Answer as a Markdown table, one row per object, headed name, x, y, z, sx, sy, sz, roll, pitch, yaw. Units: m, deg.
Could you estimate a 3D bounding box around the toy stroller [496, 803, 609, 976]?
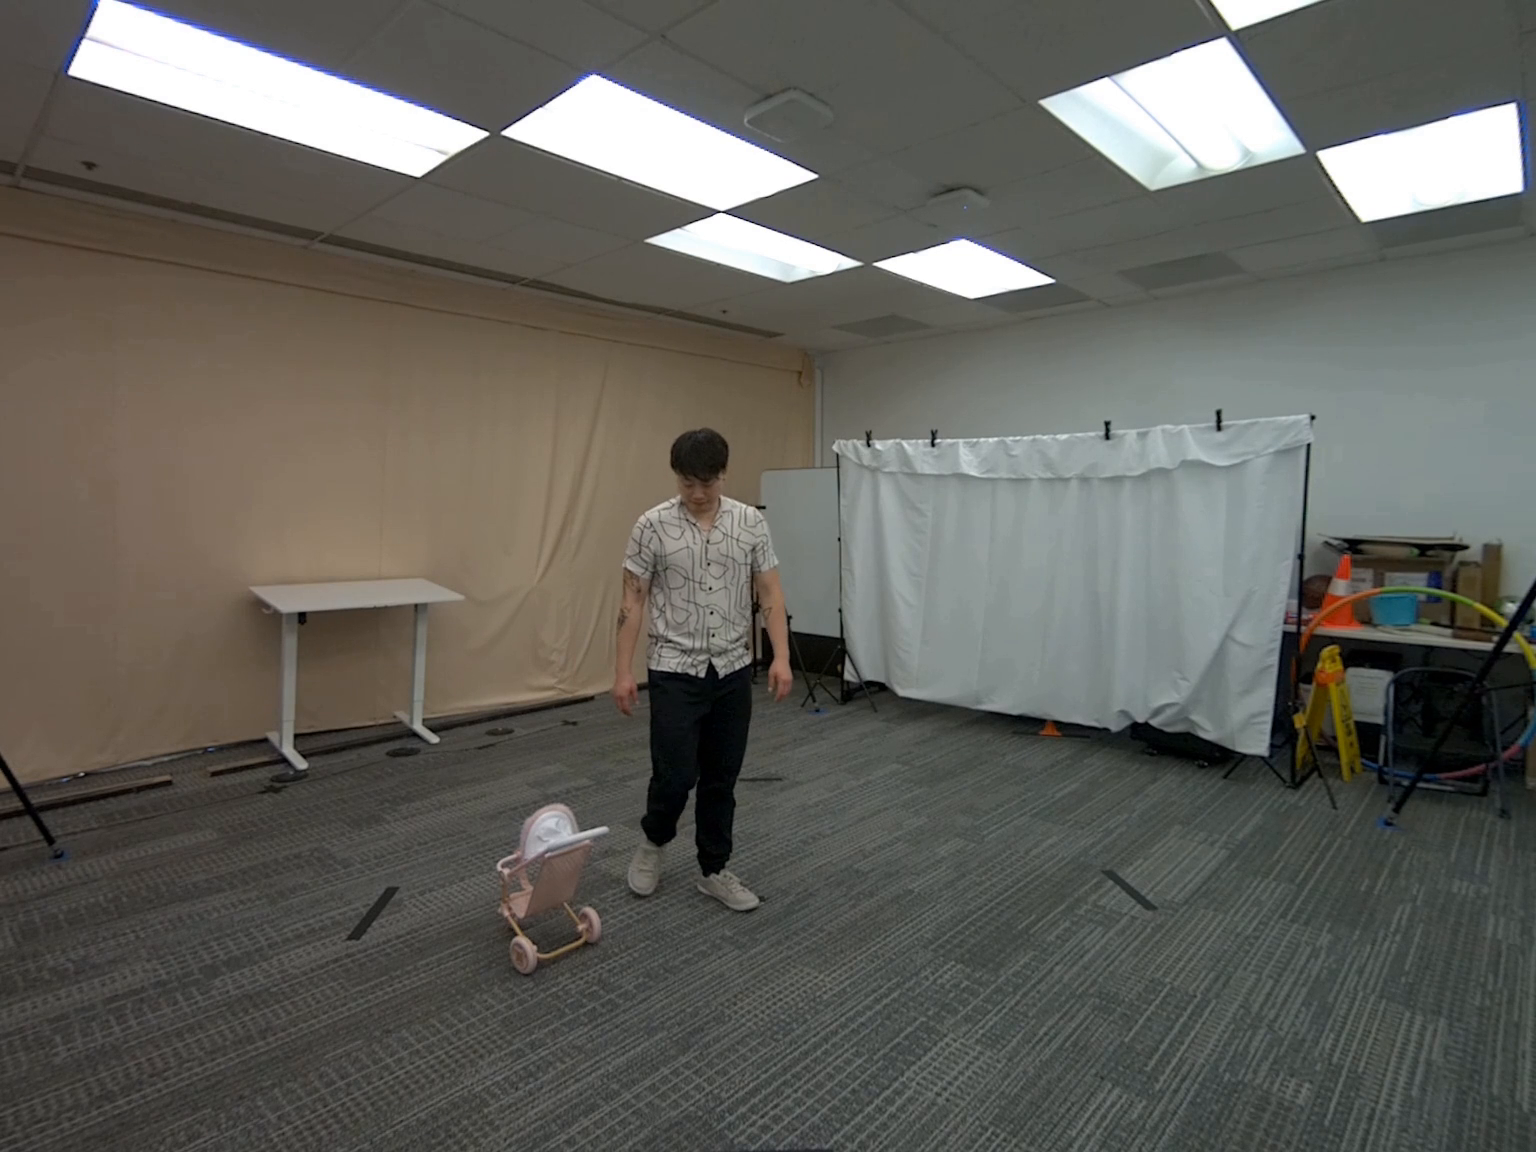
| name | x | y | z | sx | sy | sz | roll | pitch | yaw |
| --- | --- | --- | --- | --- | --- | --- | --- | --- | --- |
| toy stroller | -0.700 | 0.954 | 2.641 | 0.273 | 0.532 | 0.354 | -2 | 19 | -44 |
